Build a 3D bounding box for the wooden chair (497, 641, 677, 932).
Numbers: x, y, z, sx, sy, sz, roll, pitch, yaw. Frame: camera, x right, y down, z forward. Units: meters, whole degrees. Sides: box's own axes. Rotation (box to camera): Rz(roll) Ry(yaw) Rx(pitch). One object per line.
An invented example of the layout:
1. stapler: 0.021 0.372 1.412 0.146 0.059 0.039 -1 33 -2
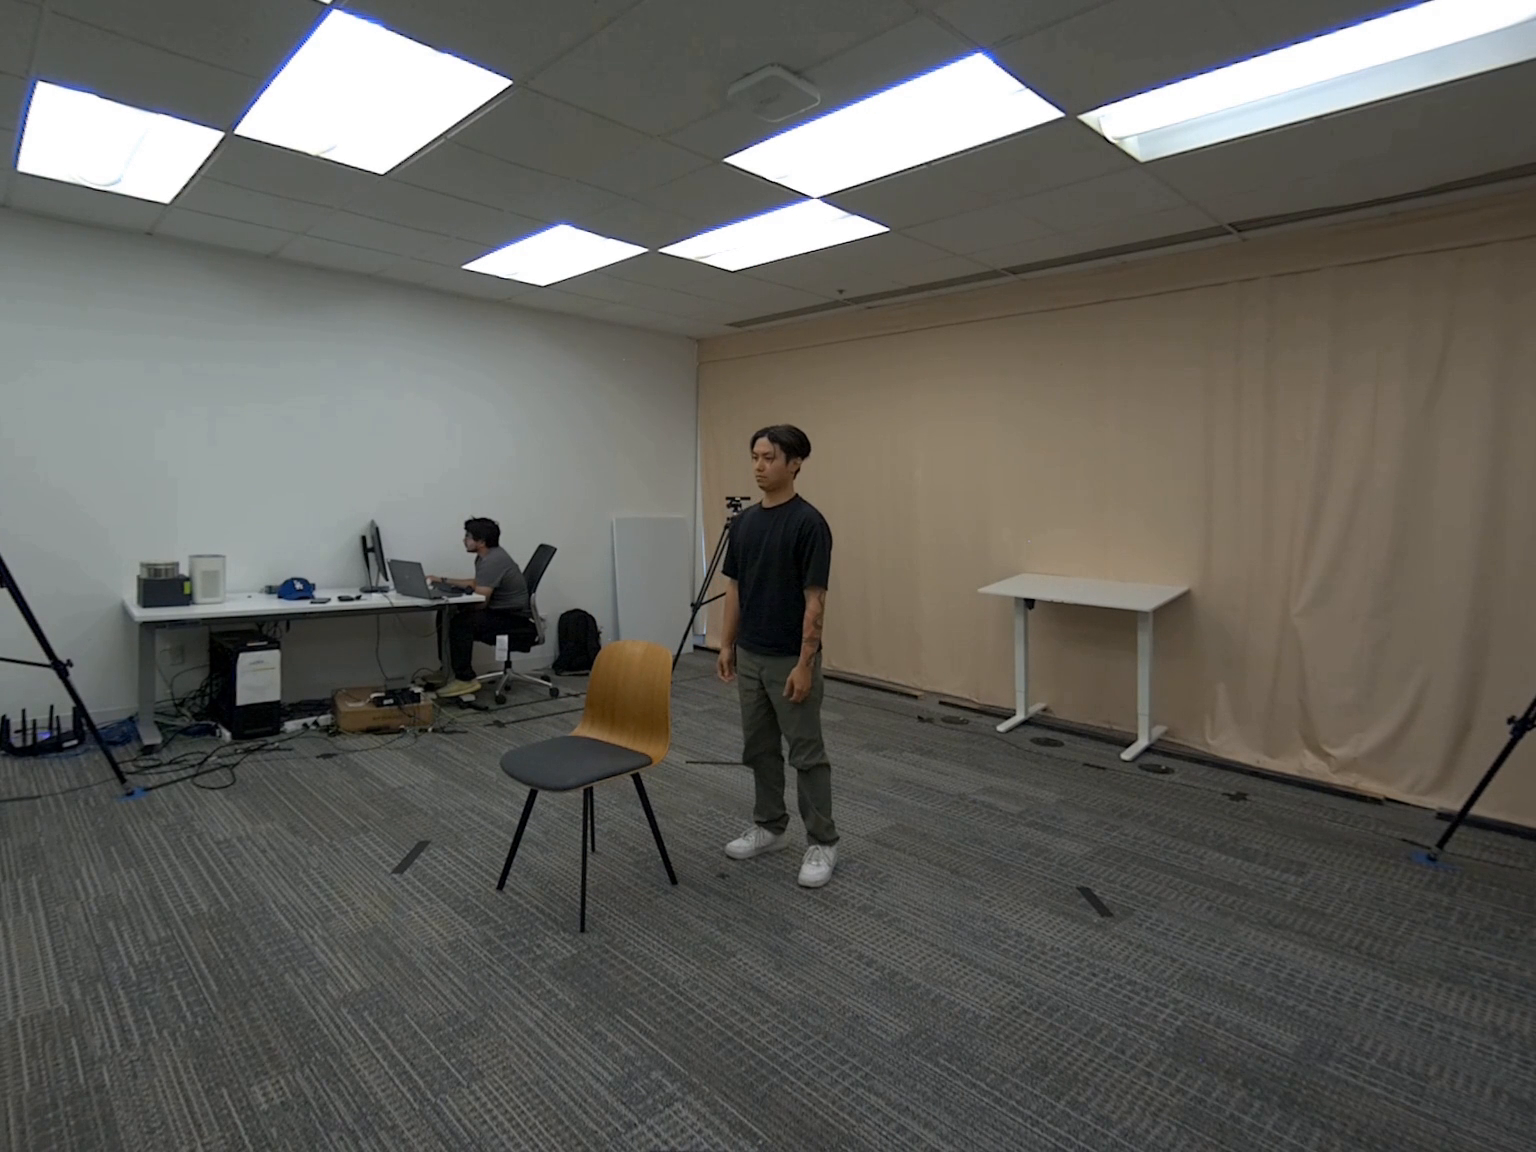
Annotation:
1. wooden chair: -0.635 0.684 2.946 0.490 0.877 0.510 4 0 37
